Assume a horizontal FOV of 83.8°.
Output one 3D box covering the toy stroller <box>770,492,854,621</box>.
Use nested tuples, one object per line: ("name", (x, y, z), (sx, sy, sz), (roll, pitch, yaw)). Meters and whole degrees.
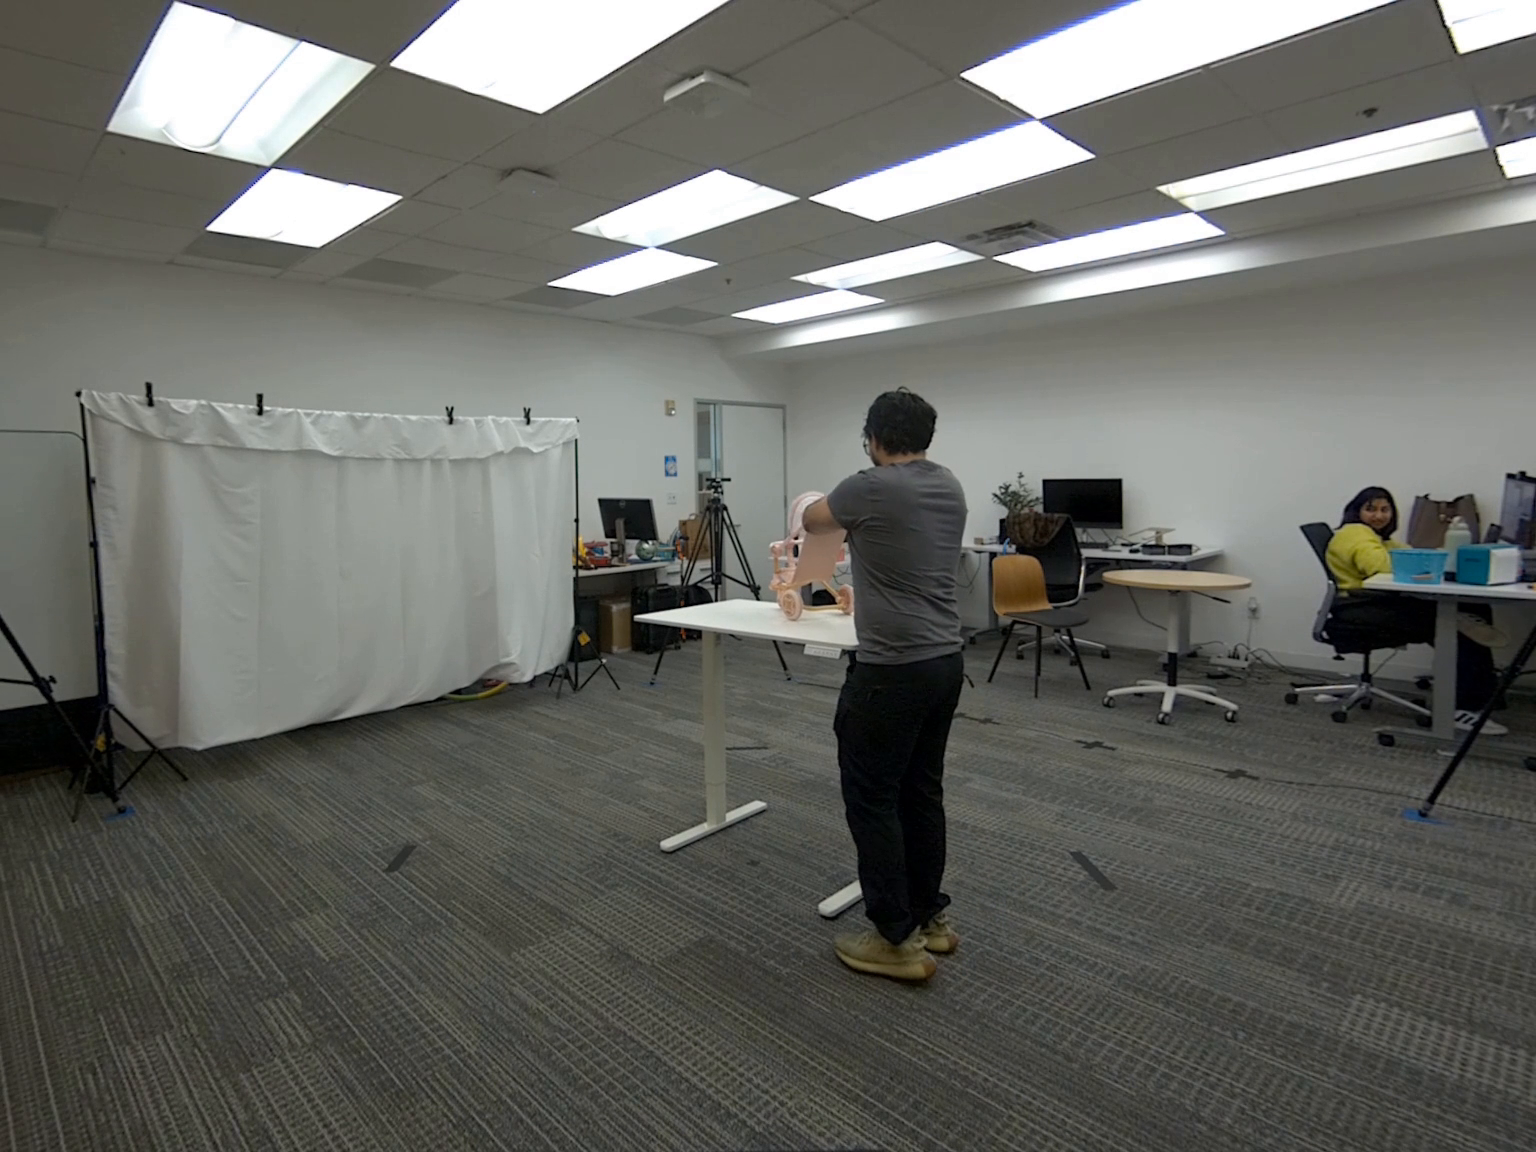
("toy stroller", (0.161, -0.075, 3.169), (0.275, 0.527, 0.353), (-3, 21, -26))
